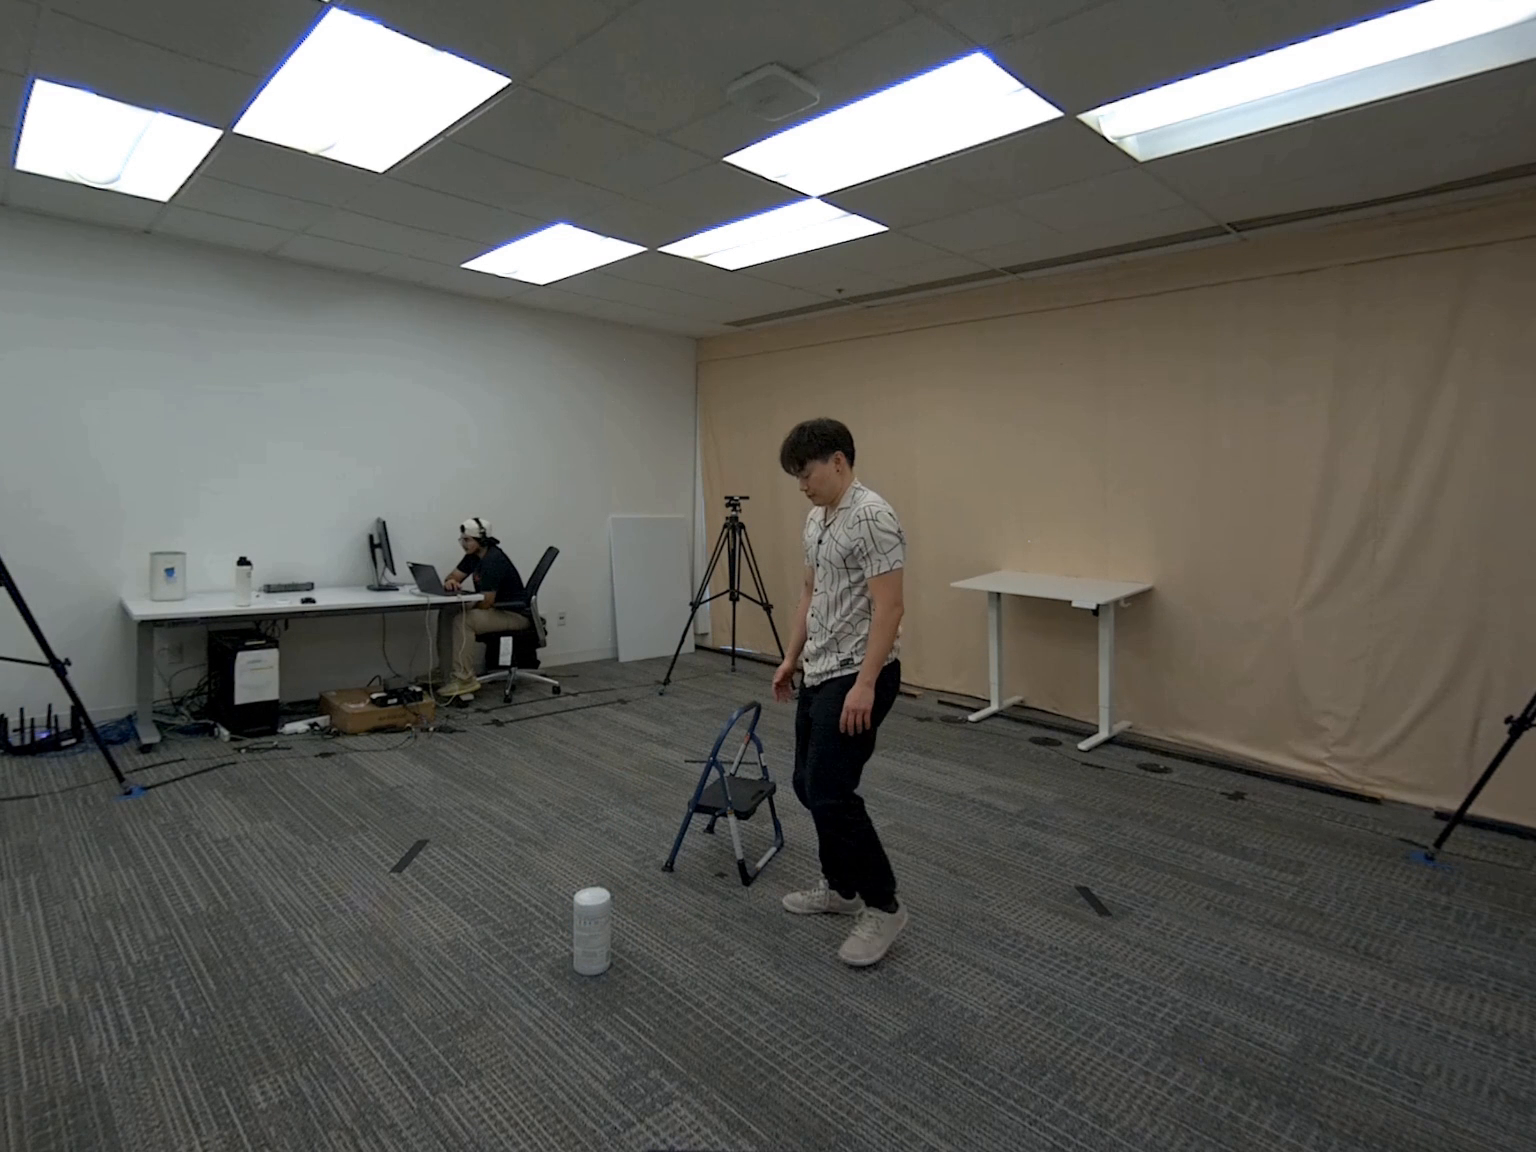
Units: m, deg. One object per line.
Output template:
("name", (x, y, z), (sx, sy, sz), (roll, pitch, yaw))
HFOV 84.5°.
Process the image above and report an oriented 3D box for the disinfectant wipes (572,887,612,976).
("disinfectant wipes", (-0.526, 1.046, 2.469), (0.118, 0.217, 0.118), (2, 4, -2))
